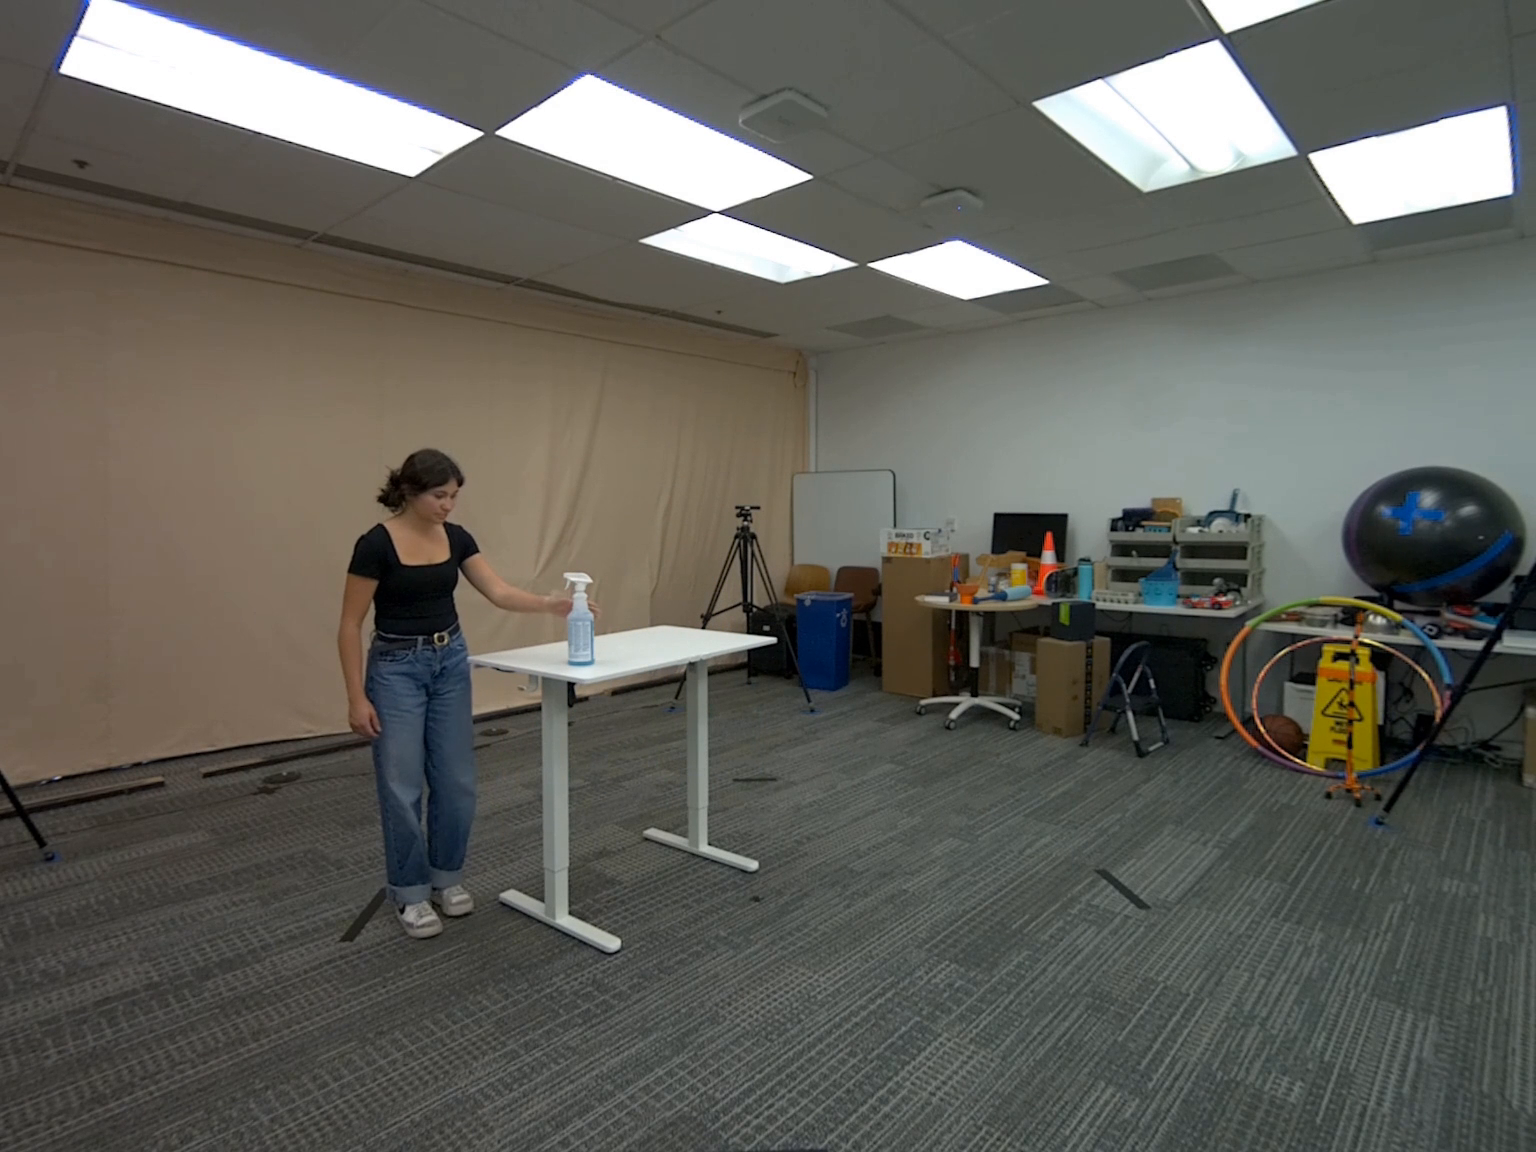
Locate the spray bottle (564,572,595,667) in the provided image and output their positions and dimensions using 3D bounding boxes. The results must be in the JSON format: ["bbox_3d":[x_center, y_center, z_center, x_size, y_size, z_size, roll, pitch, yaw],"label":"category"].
[{"bbox_3d":[-0.611,0.144,2.714,0.092,0.297,0.085,-2,4,19],"label":"spray bottle"}]
